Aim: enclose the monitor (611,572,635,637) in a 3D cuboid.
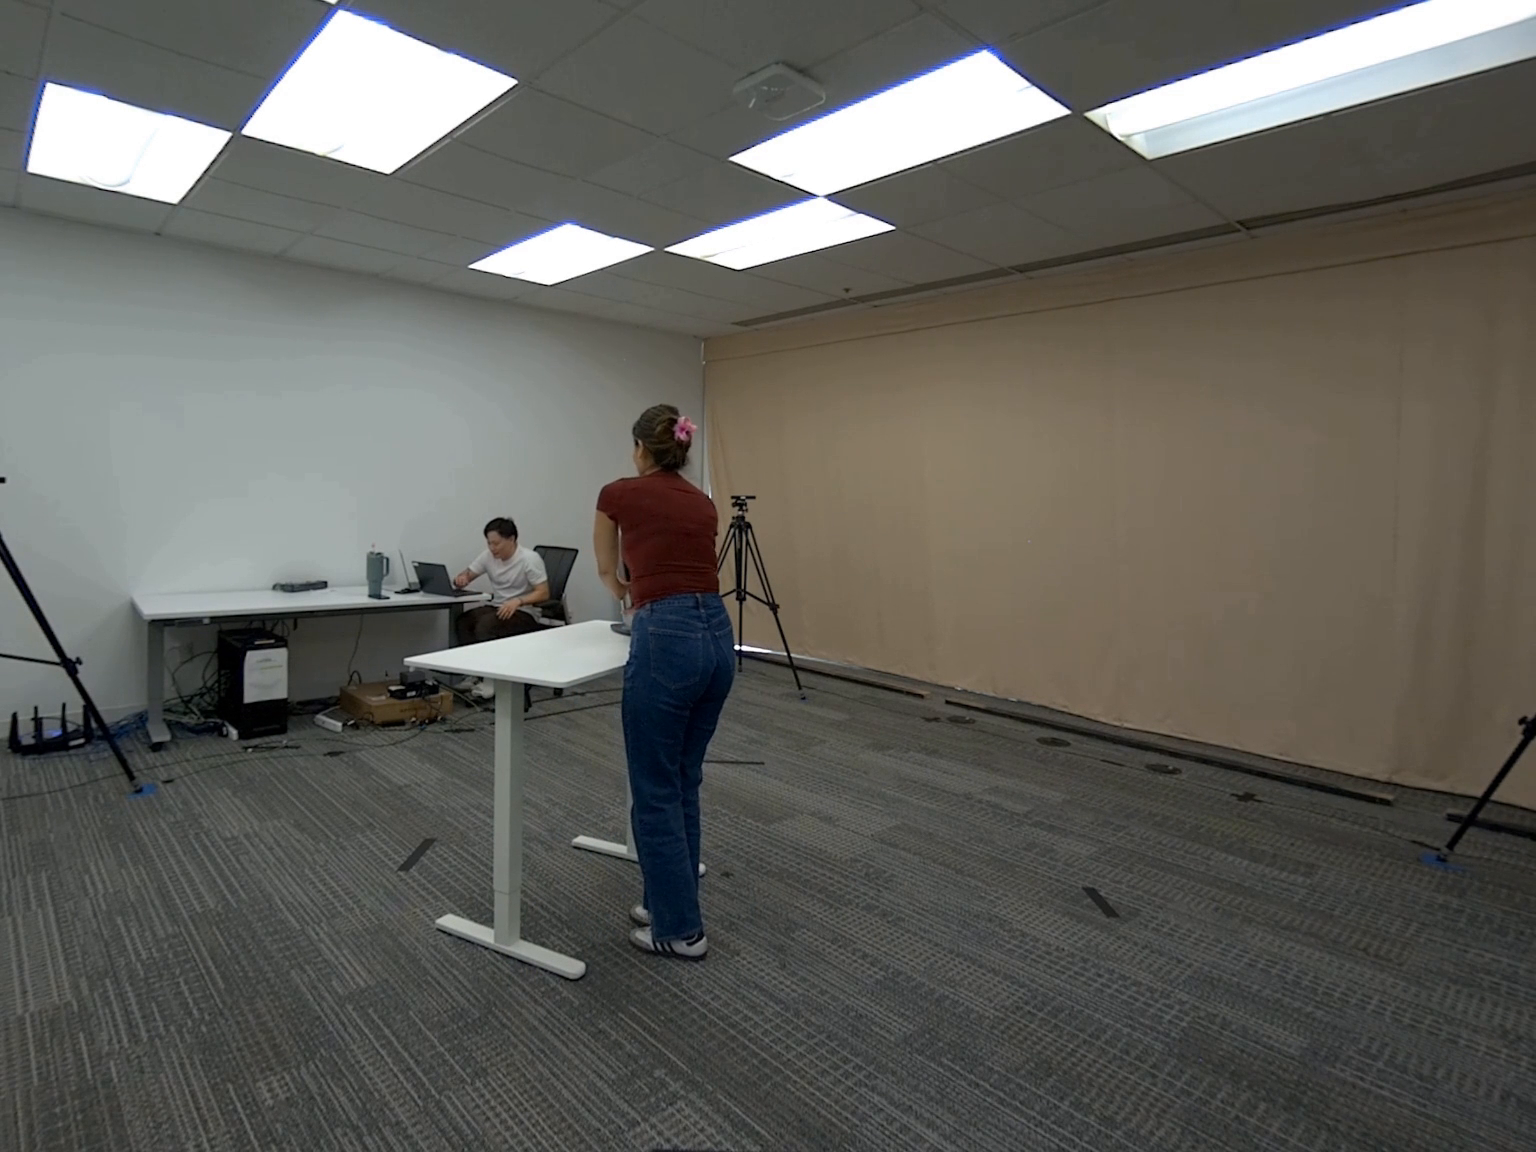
[{"bbox_3d":[-0.485,-0.042,3.139,0.184,0.520,0.550,-4,6,-26],"label":"monitor"}]
